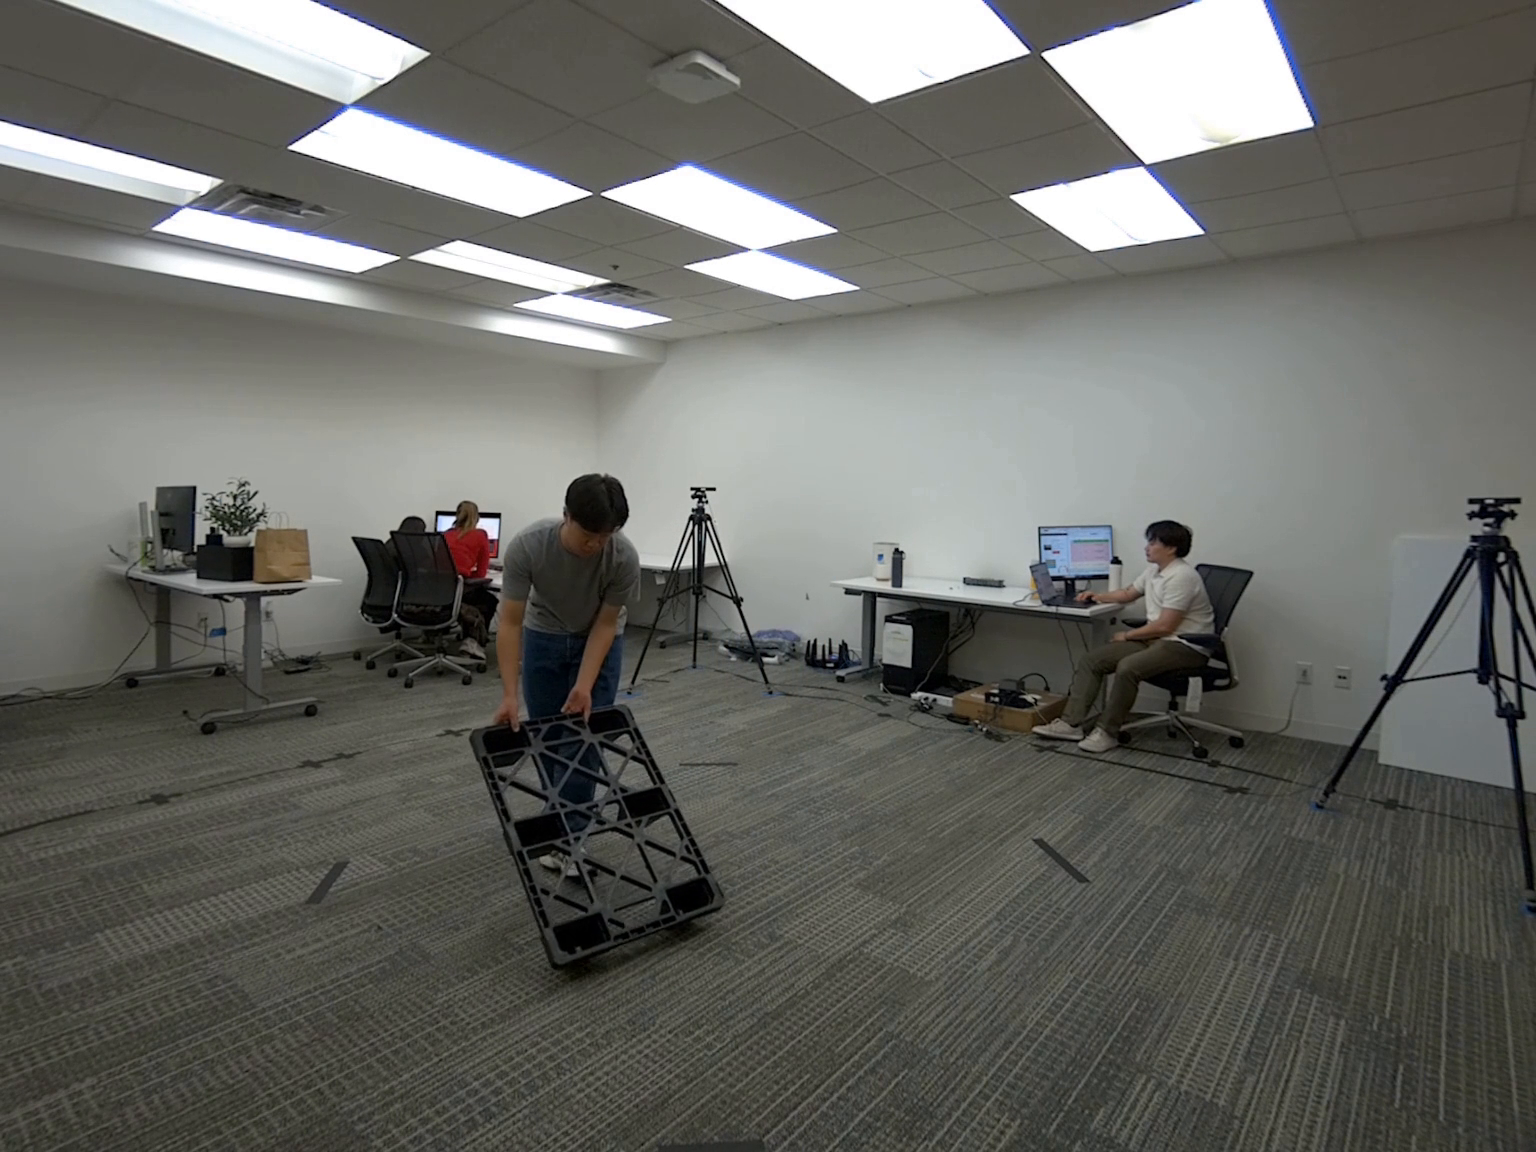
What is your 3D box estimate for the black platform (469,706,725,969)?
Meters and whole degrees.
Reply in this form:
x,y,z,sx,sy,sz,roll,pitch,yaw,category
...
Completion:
x,y,z,sx,sy,sz,roll,pitch,yaw,category
-0.582,0.804,2.761,0.587,0.142,0.837,-3,45,-39,black platform
